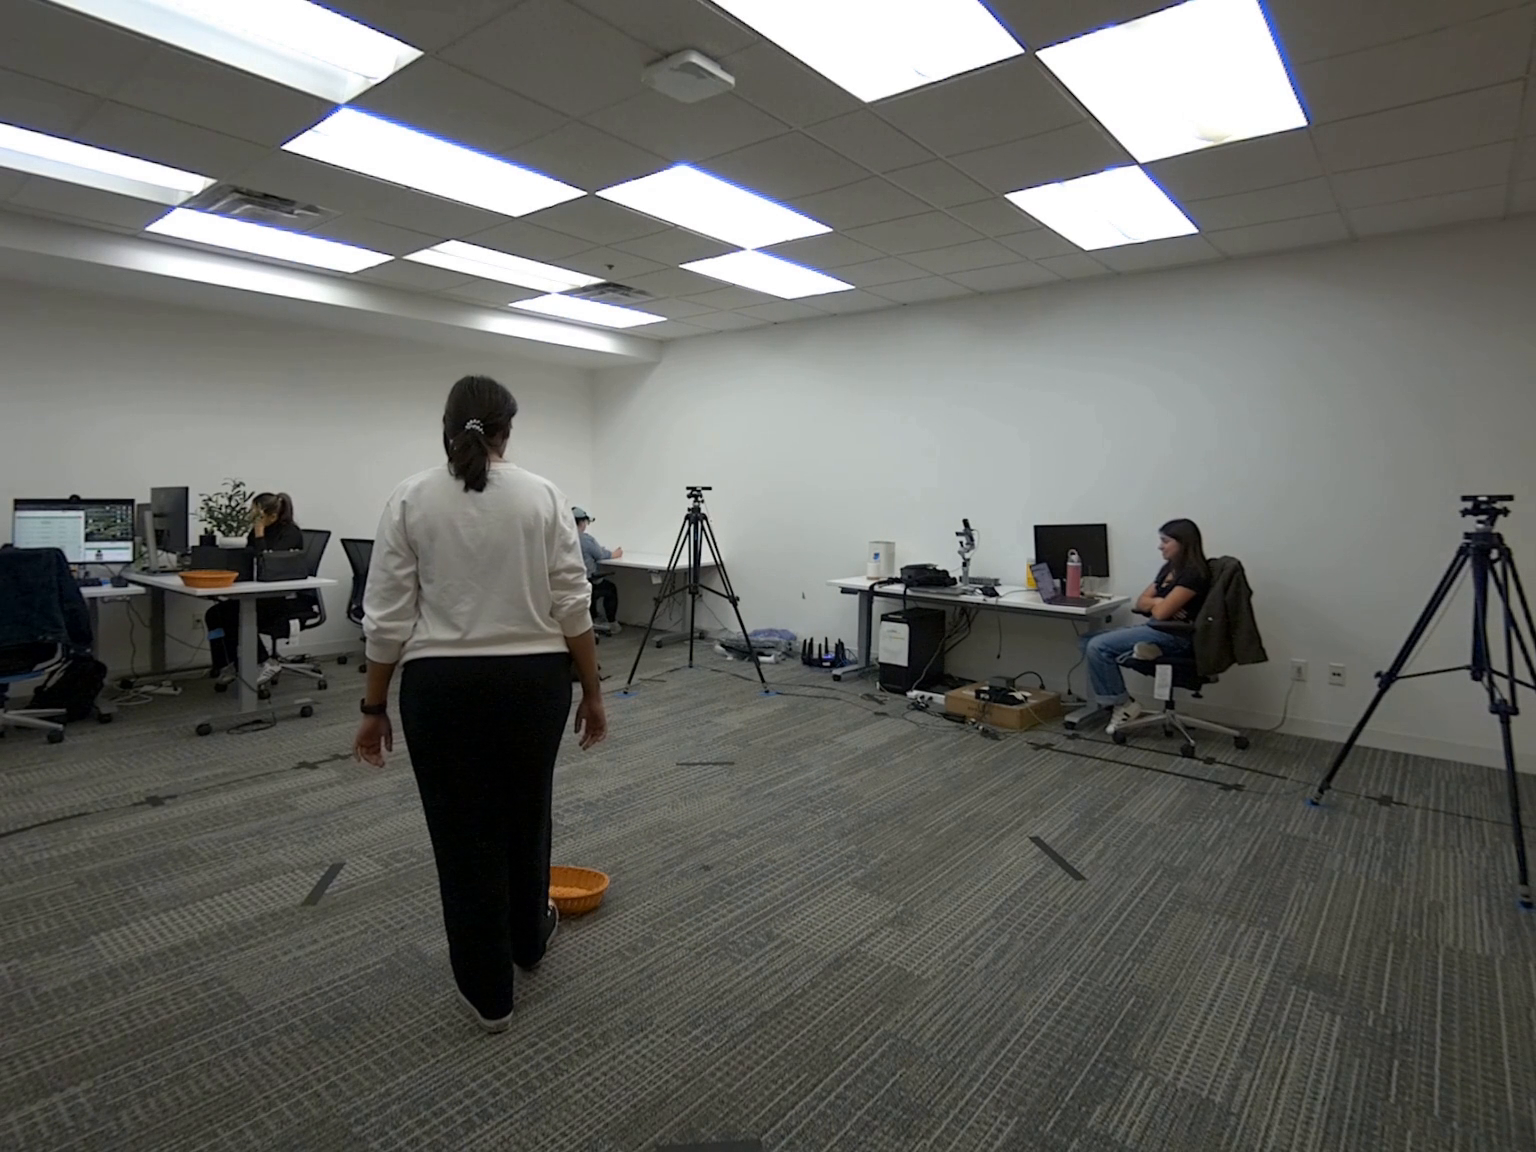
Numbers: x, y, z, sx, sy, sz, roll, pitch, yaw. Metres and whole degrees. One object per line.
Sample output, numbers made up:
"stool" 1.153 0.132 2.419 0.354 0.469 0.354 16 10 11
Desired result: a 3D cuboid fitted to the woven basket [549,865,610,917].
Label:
"woven basket" -0.702 1.042 2.826 0.356 0.073 0.249 2 3 13
